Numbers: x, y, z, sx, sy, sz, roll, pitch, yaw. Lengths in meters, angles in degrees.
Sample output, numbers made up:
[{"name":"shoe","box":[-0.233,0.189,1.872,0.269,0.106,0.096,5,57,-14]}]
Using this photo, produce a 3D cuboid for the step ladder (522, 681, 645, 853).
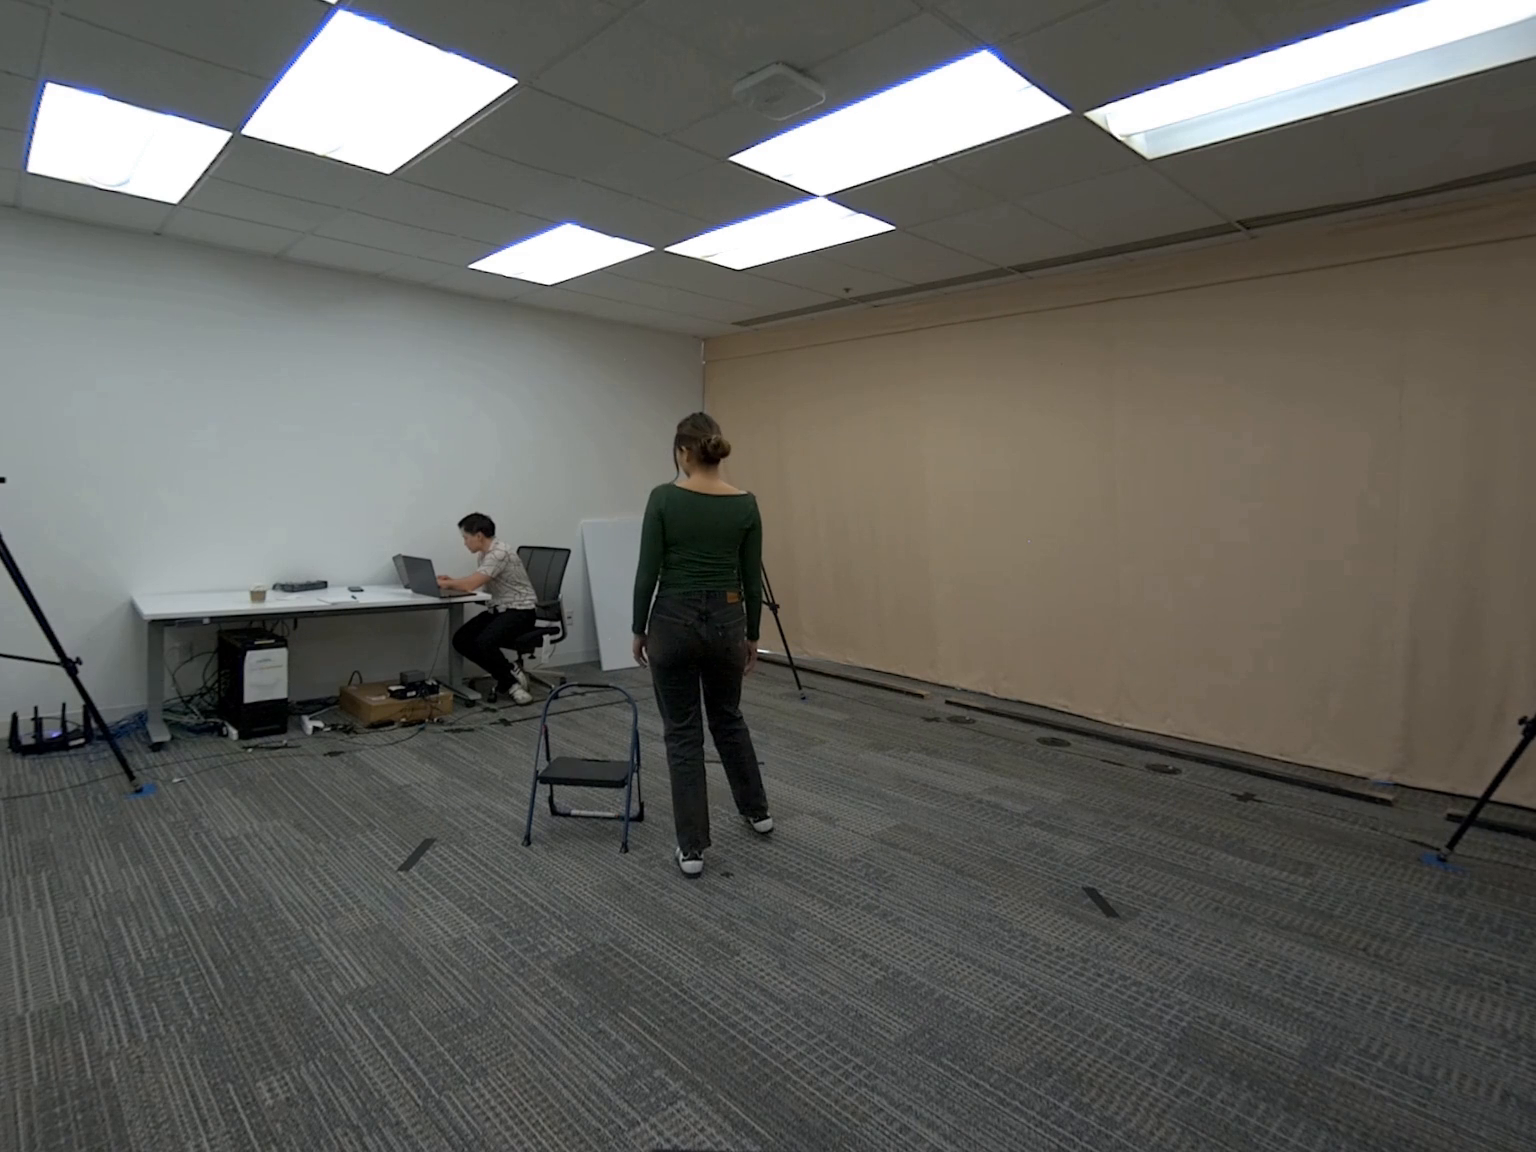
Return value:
[{"name":"step ladder","box":[-0.746,0.754,3.452,0.433,0.604,0.349,2,4,5]}]
